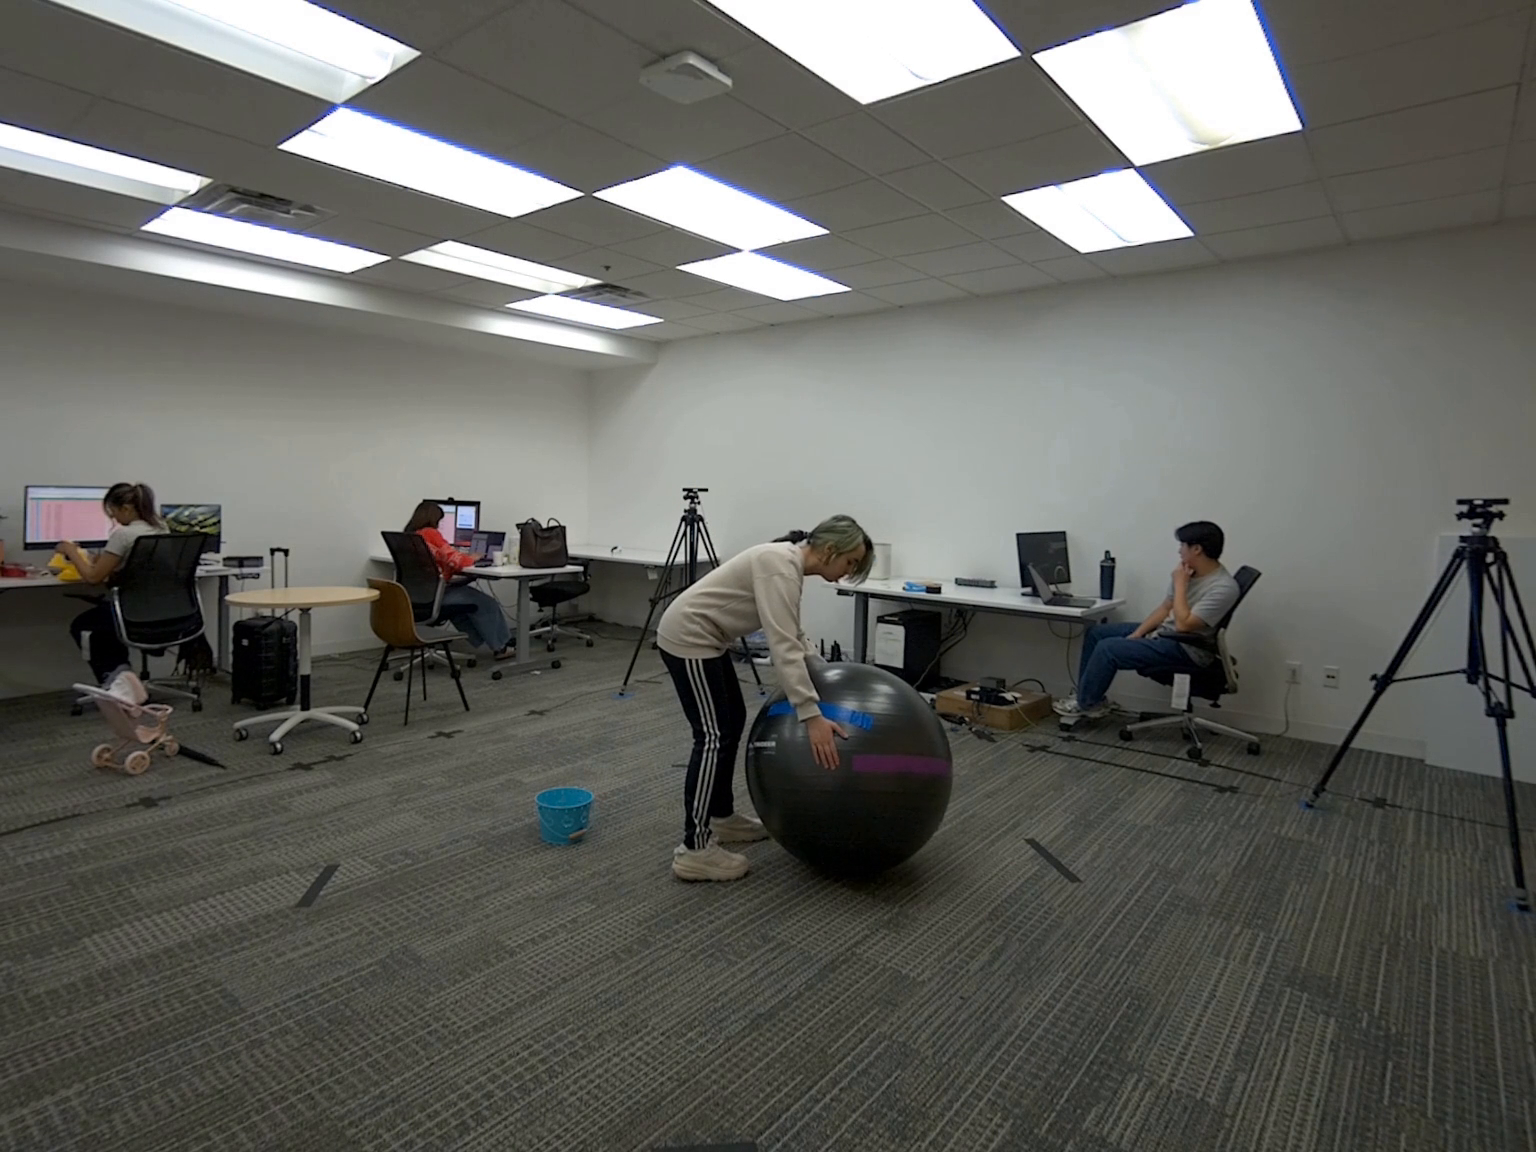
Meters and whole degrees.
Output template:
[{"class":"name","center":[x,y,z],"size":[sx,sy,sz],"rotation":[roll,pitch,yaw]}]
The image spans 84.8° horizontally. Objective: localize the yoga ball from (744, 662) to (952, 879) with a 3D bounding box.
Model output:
[{"class":"yoga ball","center":[0.289,0.696,3.163],"size":[0.757,0.755,0.762],"rotation":[1,4,-2]}]
